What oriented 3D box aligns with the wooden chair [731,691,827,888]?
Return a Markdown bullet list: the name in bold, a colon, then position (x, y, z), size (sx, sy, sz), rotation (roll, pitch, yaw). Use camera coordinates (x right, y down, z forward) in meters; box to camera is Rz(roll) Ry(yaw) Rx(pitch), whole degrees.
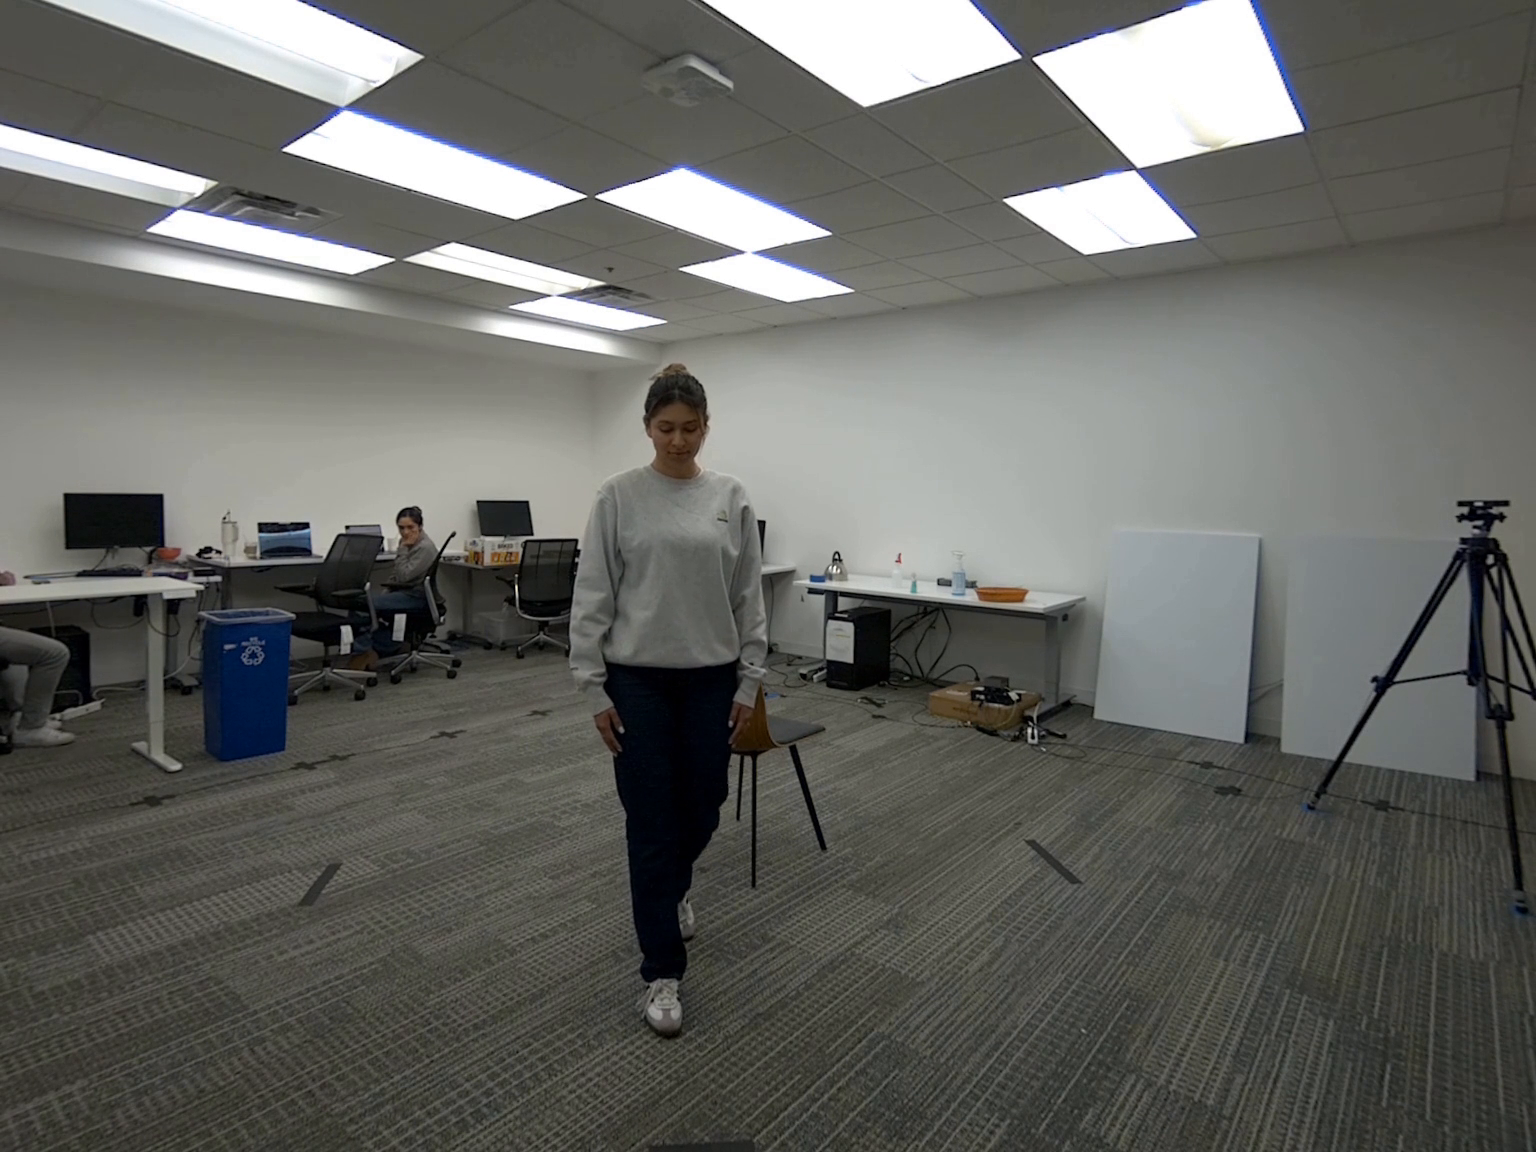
- **wooden chair**: position (-0.084, 0.633, 3.271), size (0.494, 0.872, 0.509), rotation (3, 8, 40)
